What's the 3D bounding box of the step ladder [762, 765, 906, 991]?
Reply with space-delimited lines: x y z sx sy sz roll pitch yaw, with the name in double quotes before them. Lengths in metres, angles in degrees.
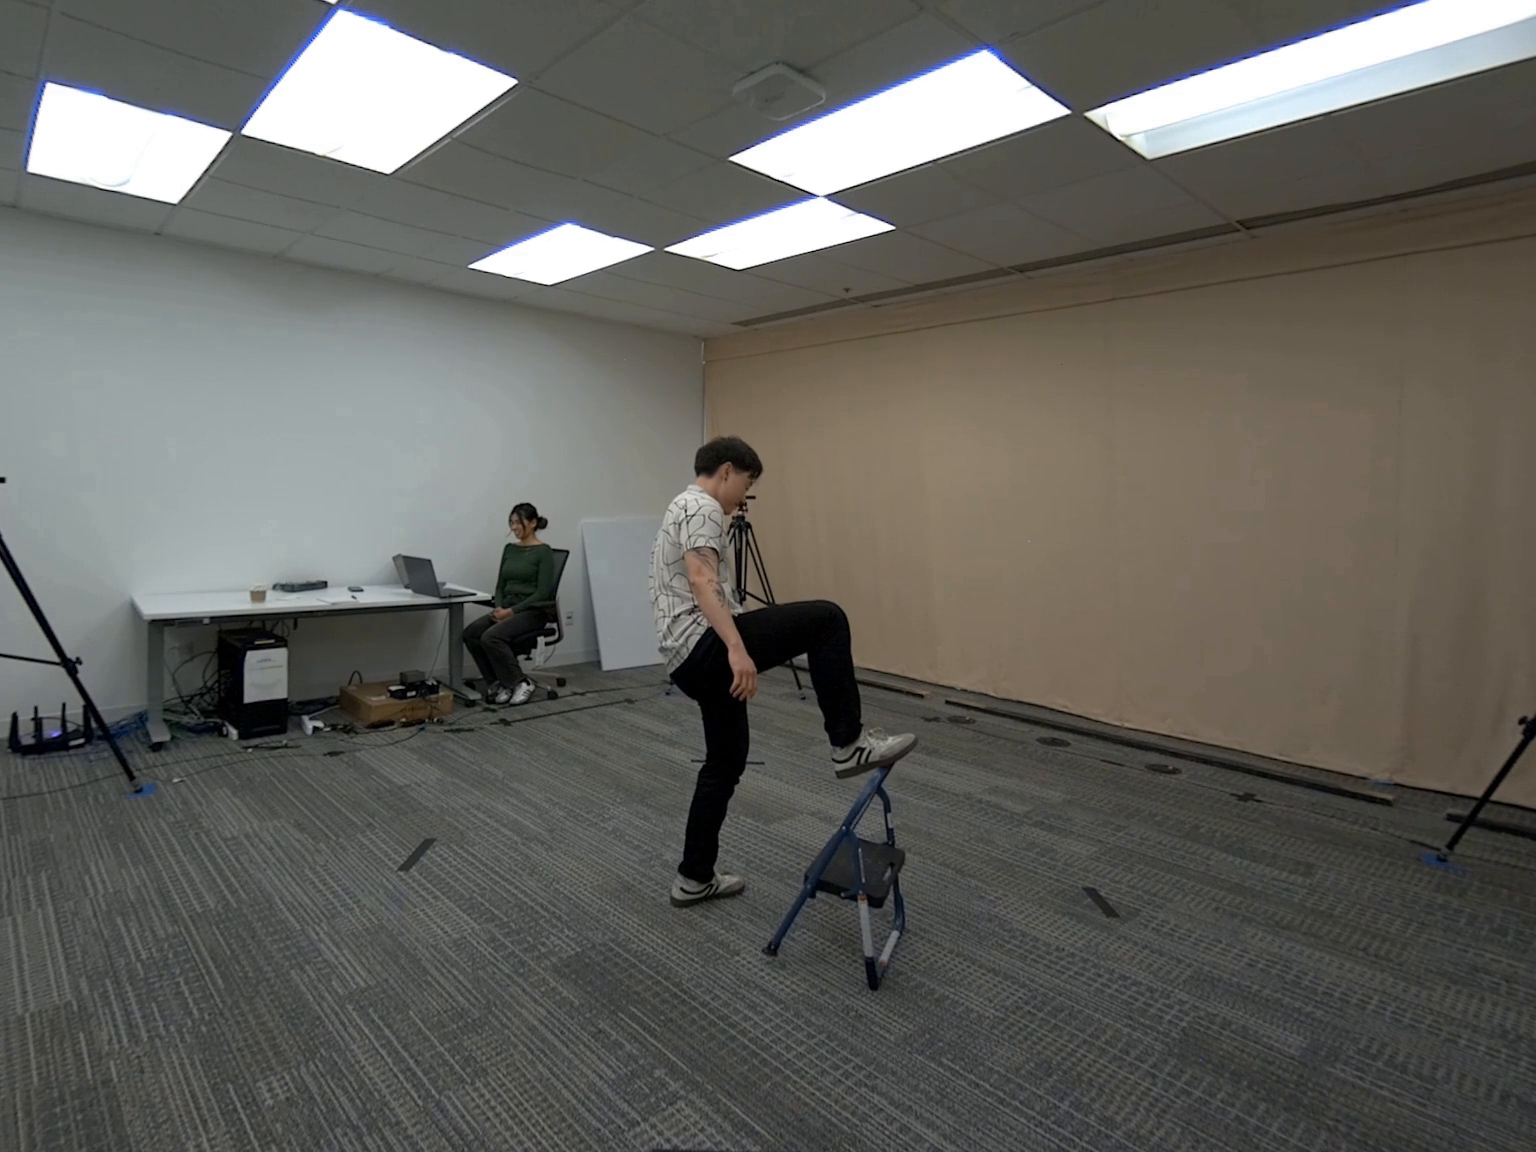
"step ladder" 0.255 0.841 2.602 0.355 0.603 0.425 10 7 19
